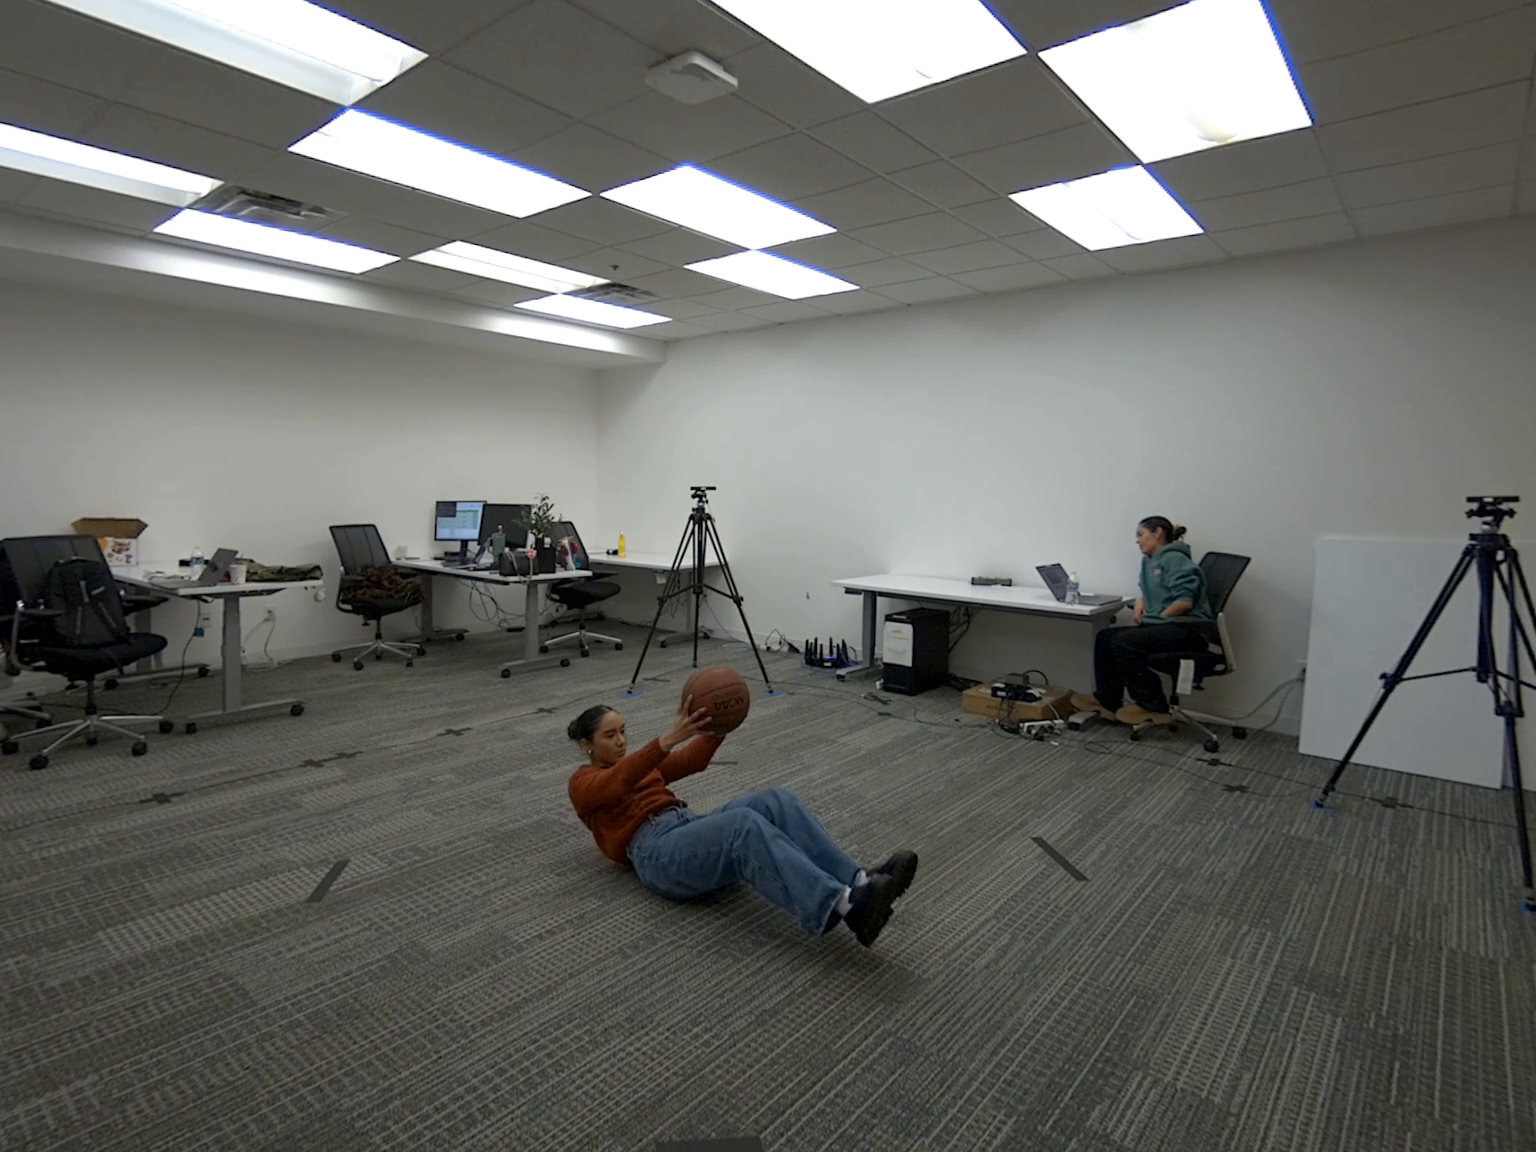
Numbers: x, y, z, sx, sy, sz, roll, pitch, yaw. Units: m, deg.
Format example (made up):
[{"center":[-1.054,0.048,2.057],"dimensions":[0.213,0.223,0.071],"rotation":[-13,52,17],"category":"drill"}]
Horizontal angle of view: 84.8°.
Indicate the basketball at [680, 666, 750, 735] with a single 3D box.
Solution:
[{"center":[-0.187,0.418,2.908],"dimensions":[0.236,0.235,0.237],"rotation":[-3,3,-2],"category":"basketball"}]
